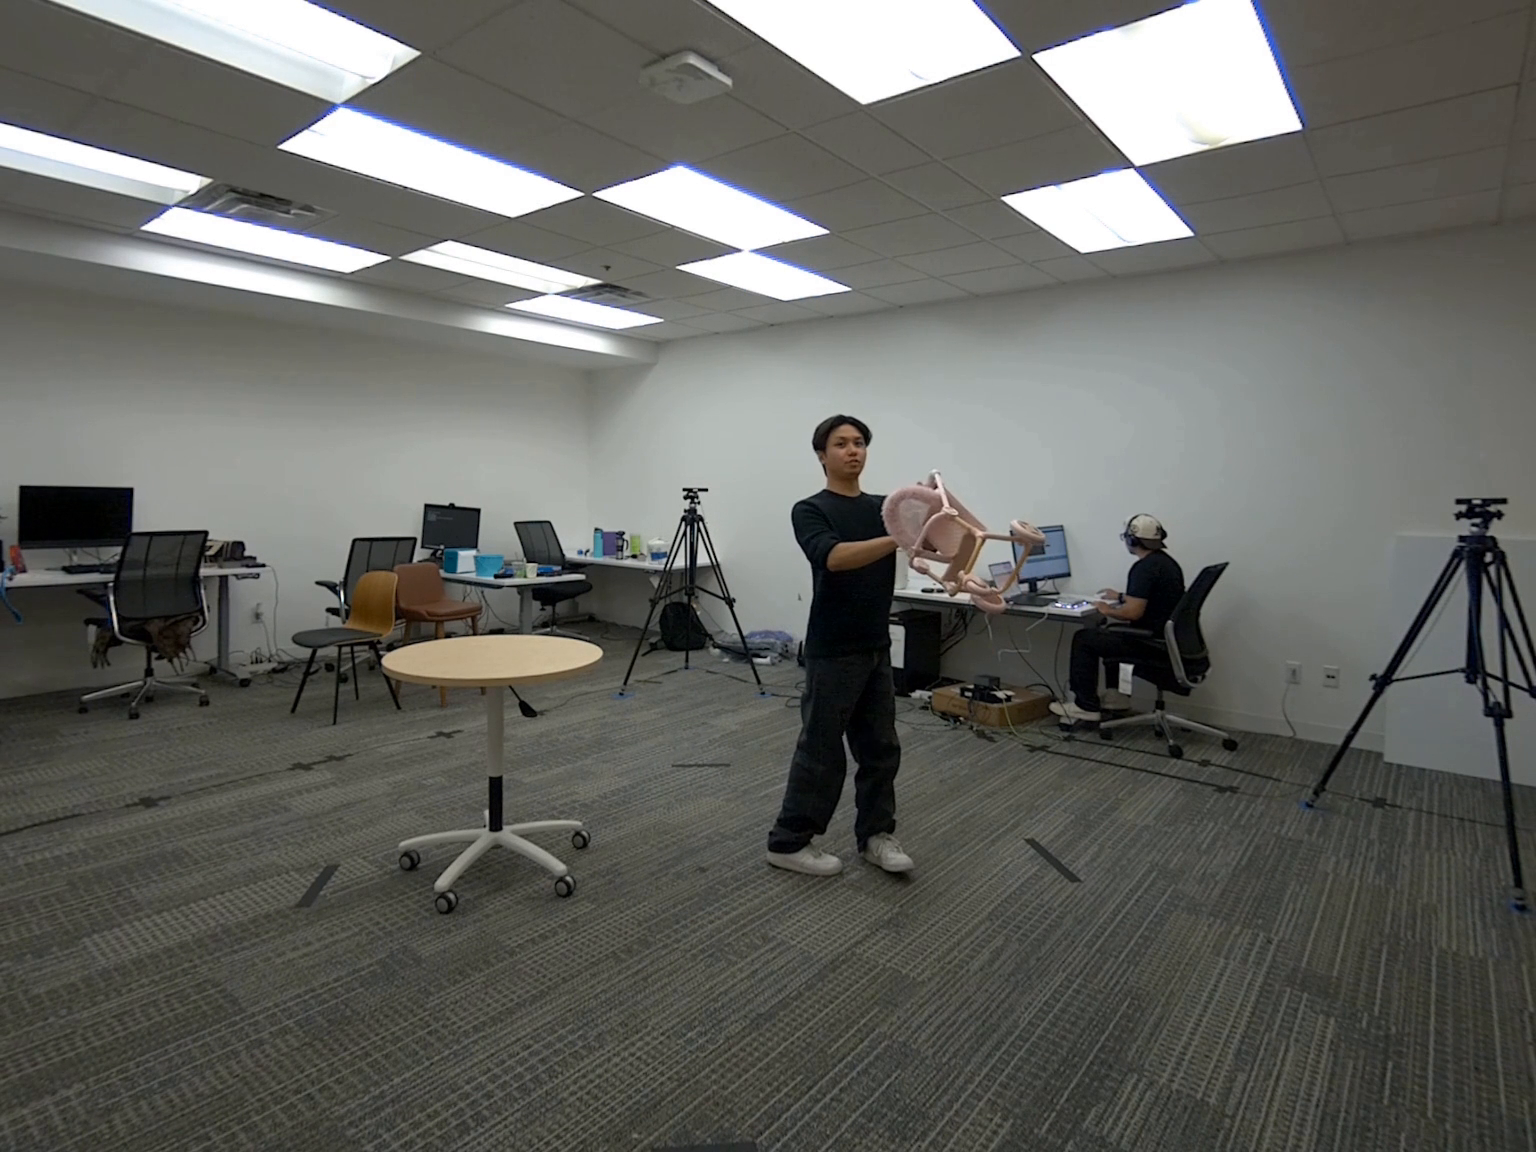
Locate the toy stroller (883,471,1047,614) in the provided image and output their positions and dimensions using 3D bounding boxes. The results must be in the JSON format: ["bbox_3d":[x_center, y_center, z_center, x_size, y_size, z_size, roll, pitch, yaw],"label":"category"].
[{"bbox_3d":[0.533,-0.112,2.580,0.332,0.277,0.558,-8,40,-37],"label":"toy stroller"}]
